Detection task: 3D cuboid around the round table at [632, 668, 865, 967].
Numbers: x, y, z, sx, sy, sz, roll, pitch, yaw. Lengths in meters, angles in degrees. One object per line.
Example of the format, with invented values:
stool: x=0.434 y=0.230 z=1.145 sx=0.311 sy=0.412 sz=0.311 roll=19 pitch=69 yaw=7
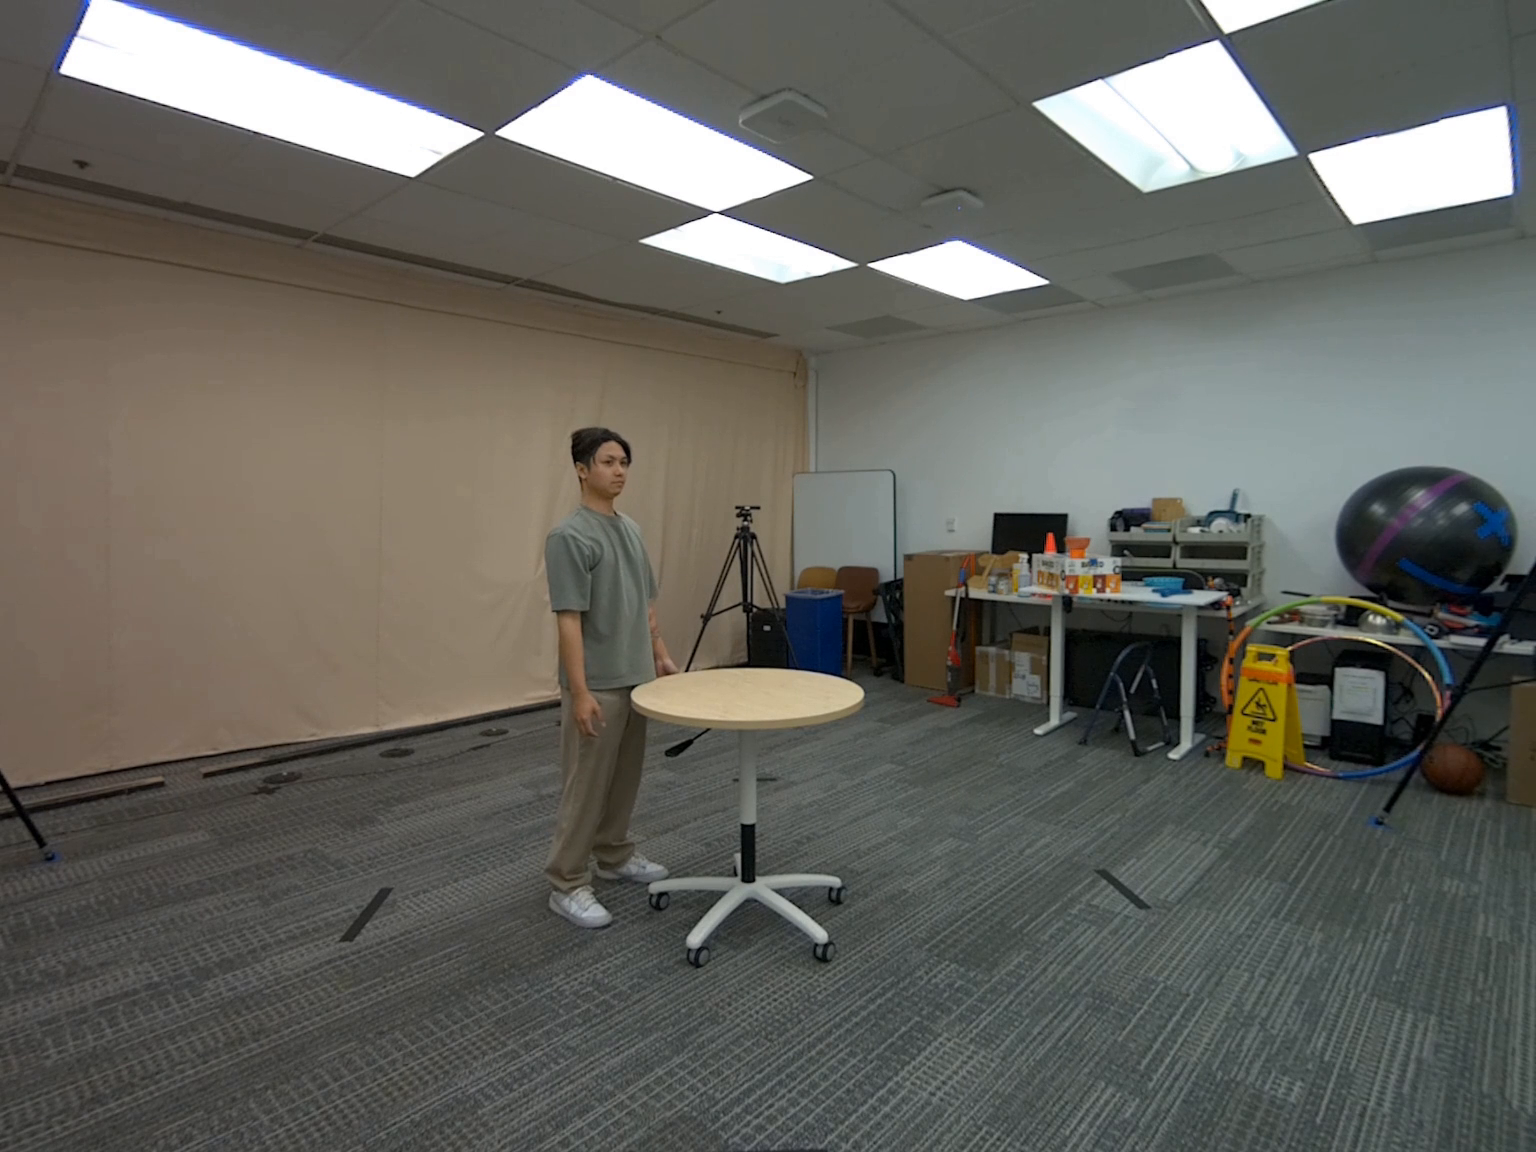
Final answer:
round table: x=-0.056 y=0.769 z=2.815 sx=0.784 sy=0.785 sz=0.788 roll=-1 pitch=4 yaw=-2
